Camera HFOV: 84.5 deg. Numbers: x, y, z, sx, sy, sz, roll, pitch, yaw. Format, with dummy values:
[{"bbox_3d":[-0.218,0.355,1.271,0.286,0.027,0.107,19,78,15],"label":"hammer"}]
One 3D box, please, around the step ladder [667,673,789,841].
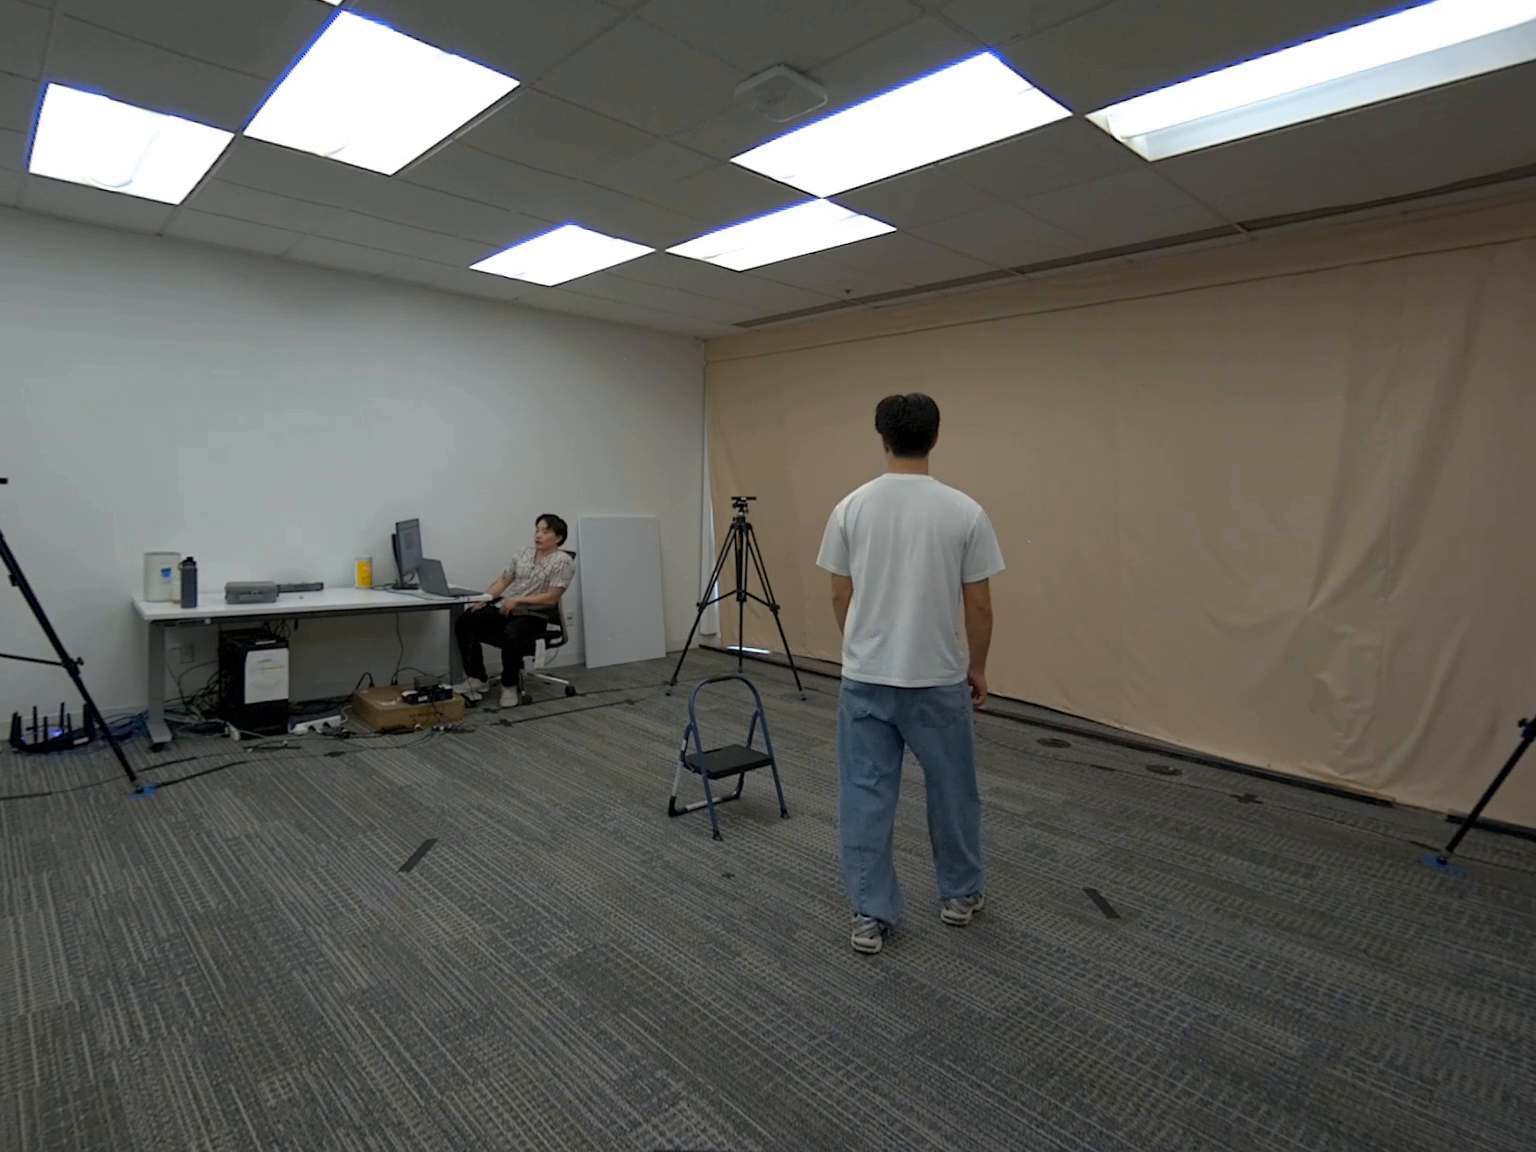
[{"bbox_3d":[-0.172,0.750,3.670,0.420,0.604,0.358,-1,5,-44],"label":"step ladder"}]
